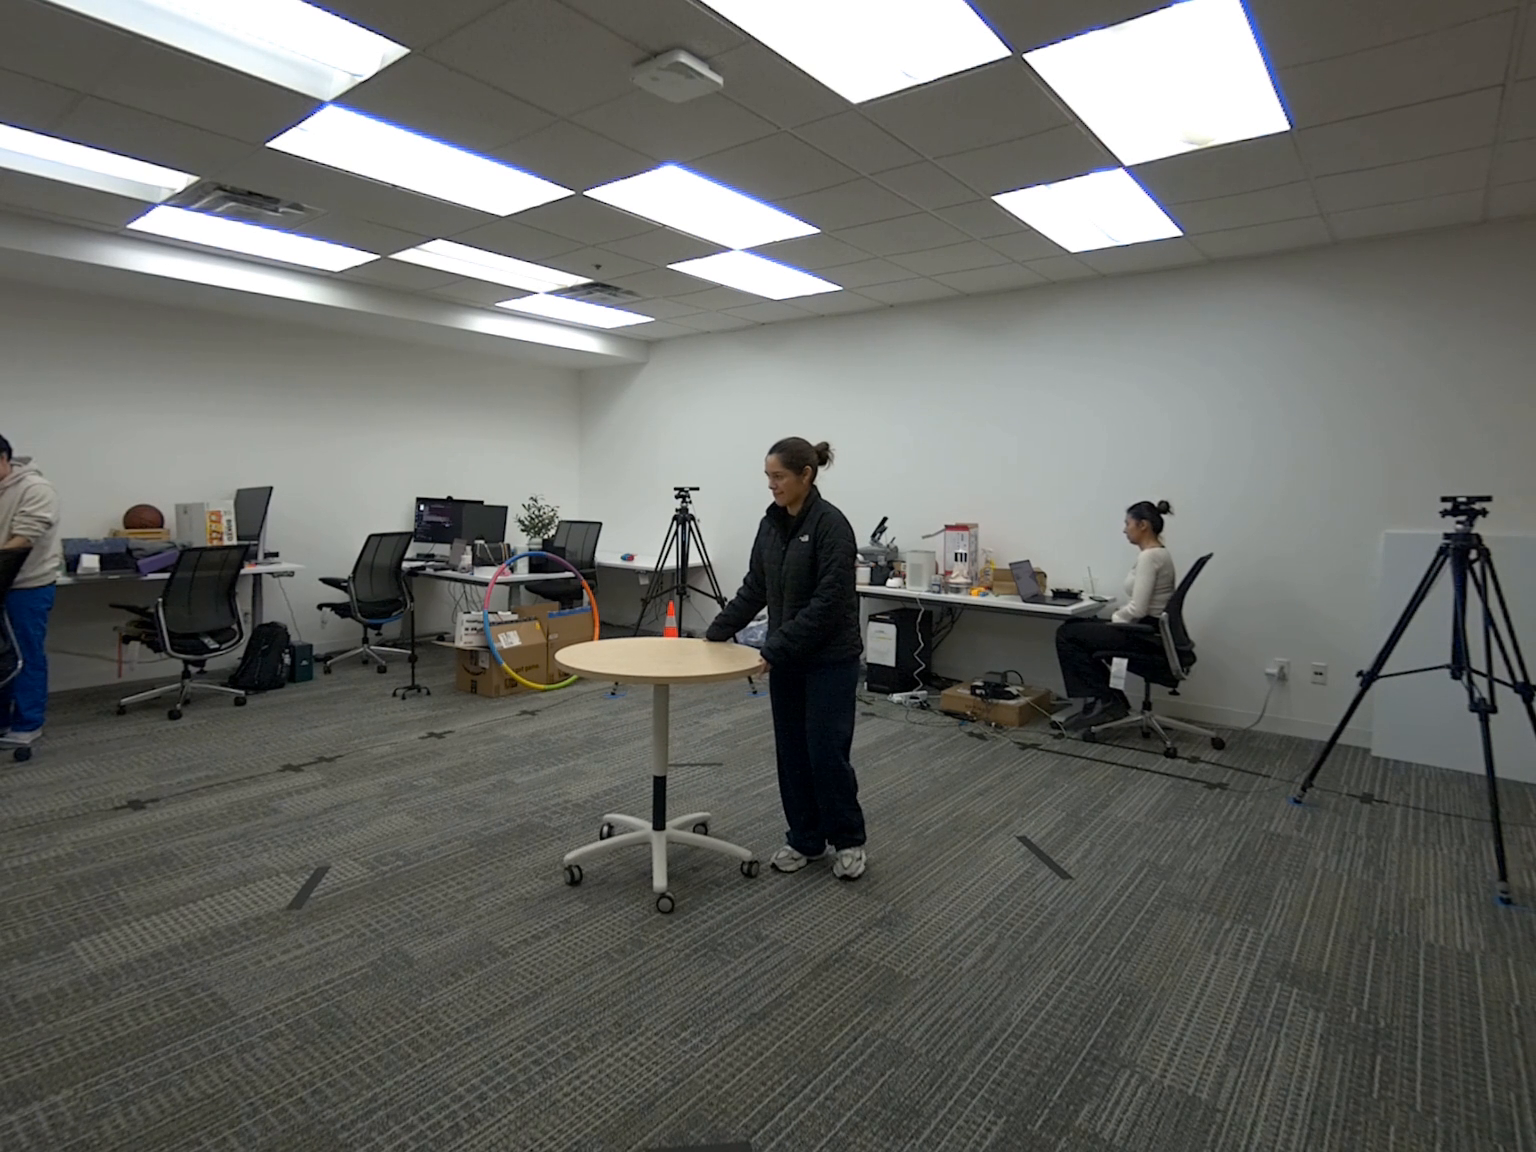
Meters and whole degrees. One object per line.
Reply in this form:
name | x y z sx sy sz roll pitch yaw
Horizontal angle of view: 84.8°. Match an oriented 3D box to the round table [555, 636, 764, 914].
round table | -0.372 0.668 3.132 0.784 0.784 0.789 1 4 -2
